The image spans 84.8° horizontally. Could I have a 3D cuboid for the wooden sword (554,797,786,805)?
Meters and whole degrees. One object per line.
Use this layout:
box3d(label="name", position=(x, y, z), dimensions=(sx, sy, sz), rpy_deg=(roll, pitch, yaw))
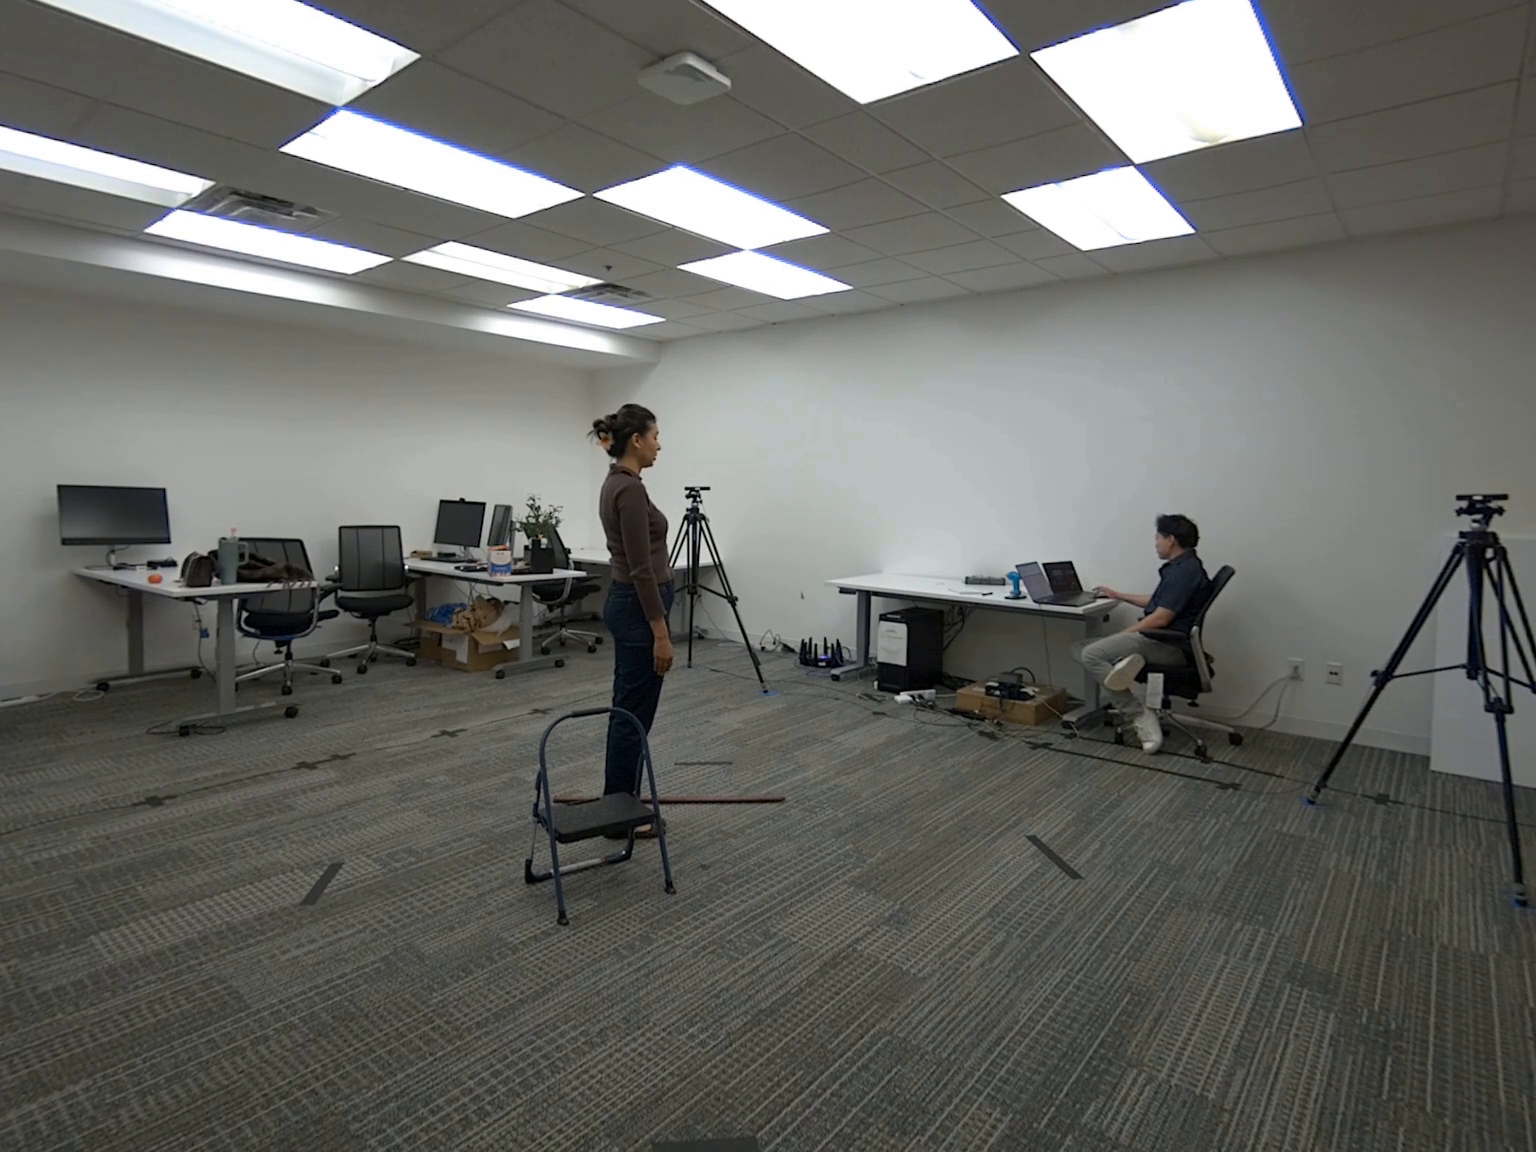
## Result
box3d(label="wooden sword", position=(-0.441, 0.968, 3.740), dimensions=(1.023, 0.051, 0.024), rpy_deg=(0, -2, -1))
